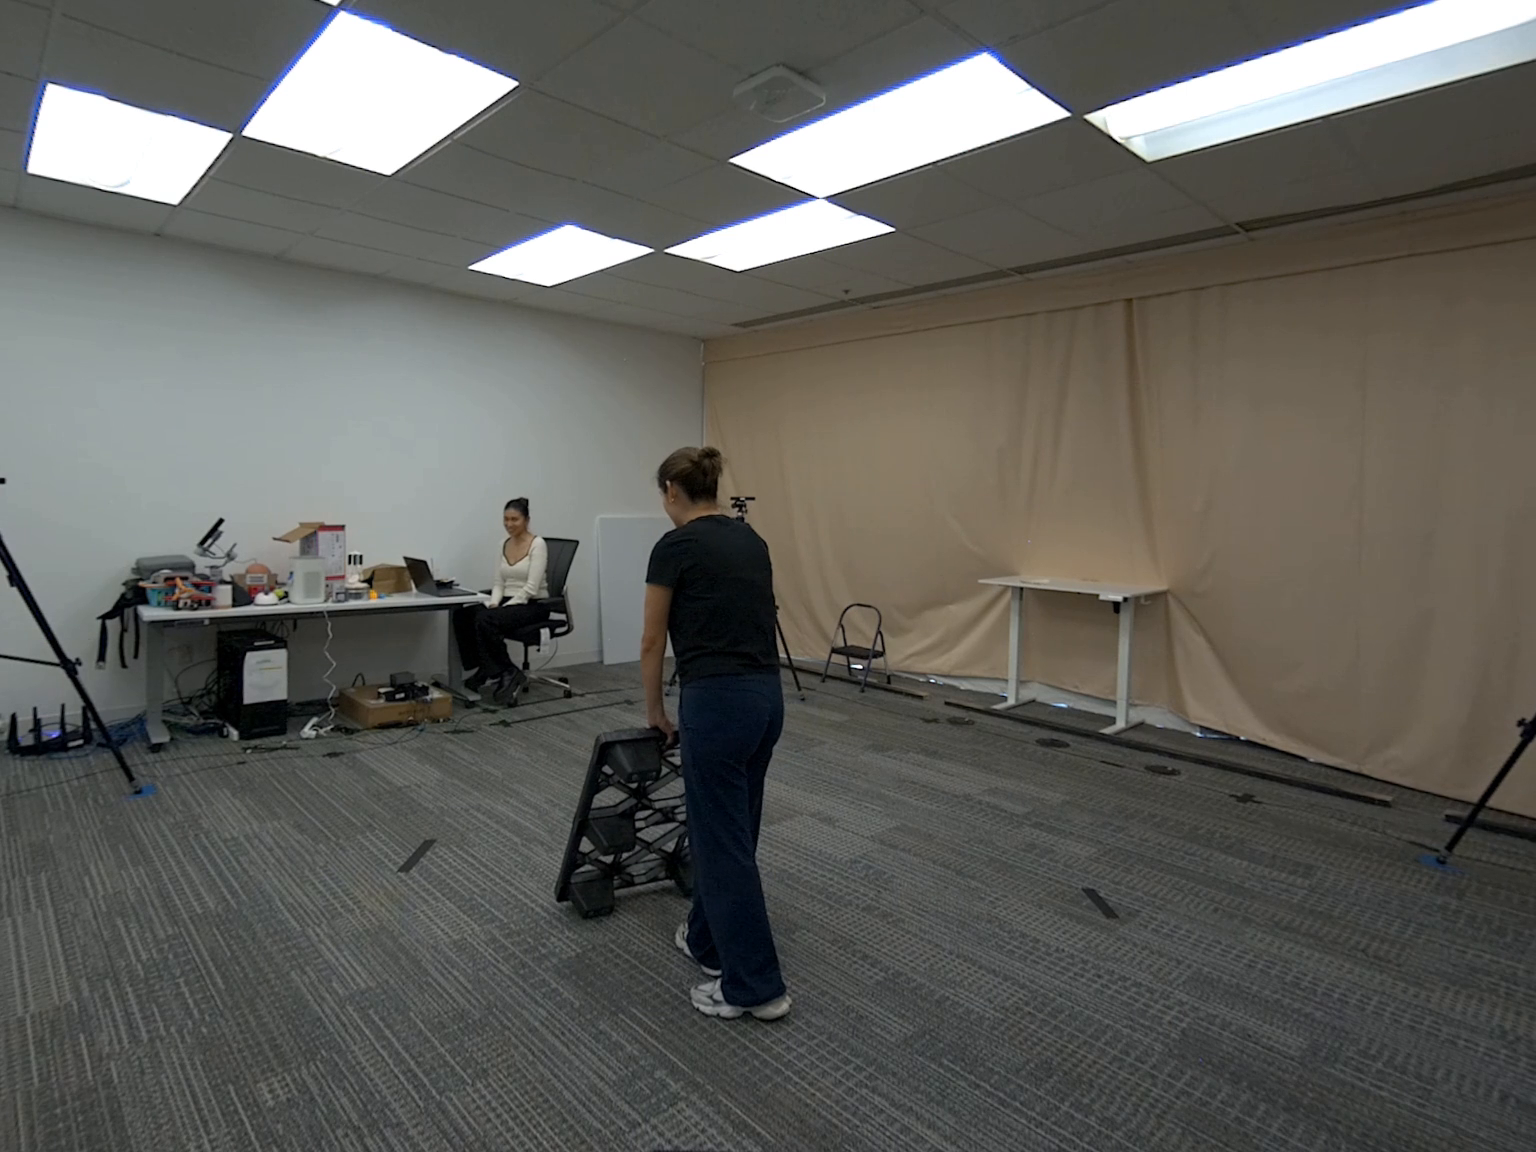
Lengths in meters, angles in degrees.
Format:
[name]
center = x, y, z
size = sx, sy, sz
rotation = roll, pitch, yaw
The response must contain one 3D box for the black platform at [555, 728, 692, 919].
[black platform]
center = -0.326, 0.800, 2.707
size = 0.593, 0.796, 0.148
rotation = -1, 38, -29
